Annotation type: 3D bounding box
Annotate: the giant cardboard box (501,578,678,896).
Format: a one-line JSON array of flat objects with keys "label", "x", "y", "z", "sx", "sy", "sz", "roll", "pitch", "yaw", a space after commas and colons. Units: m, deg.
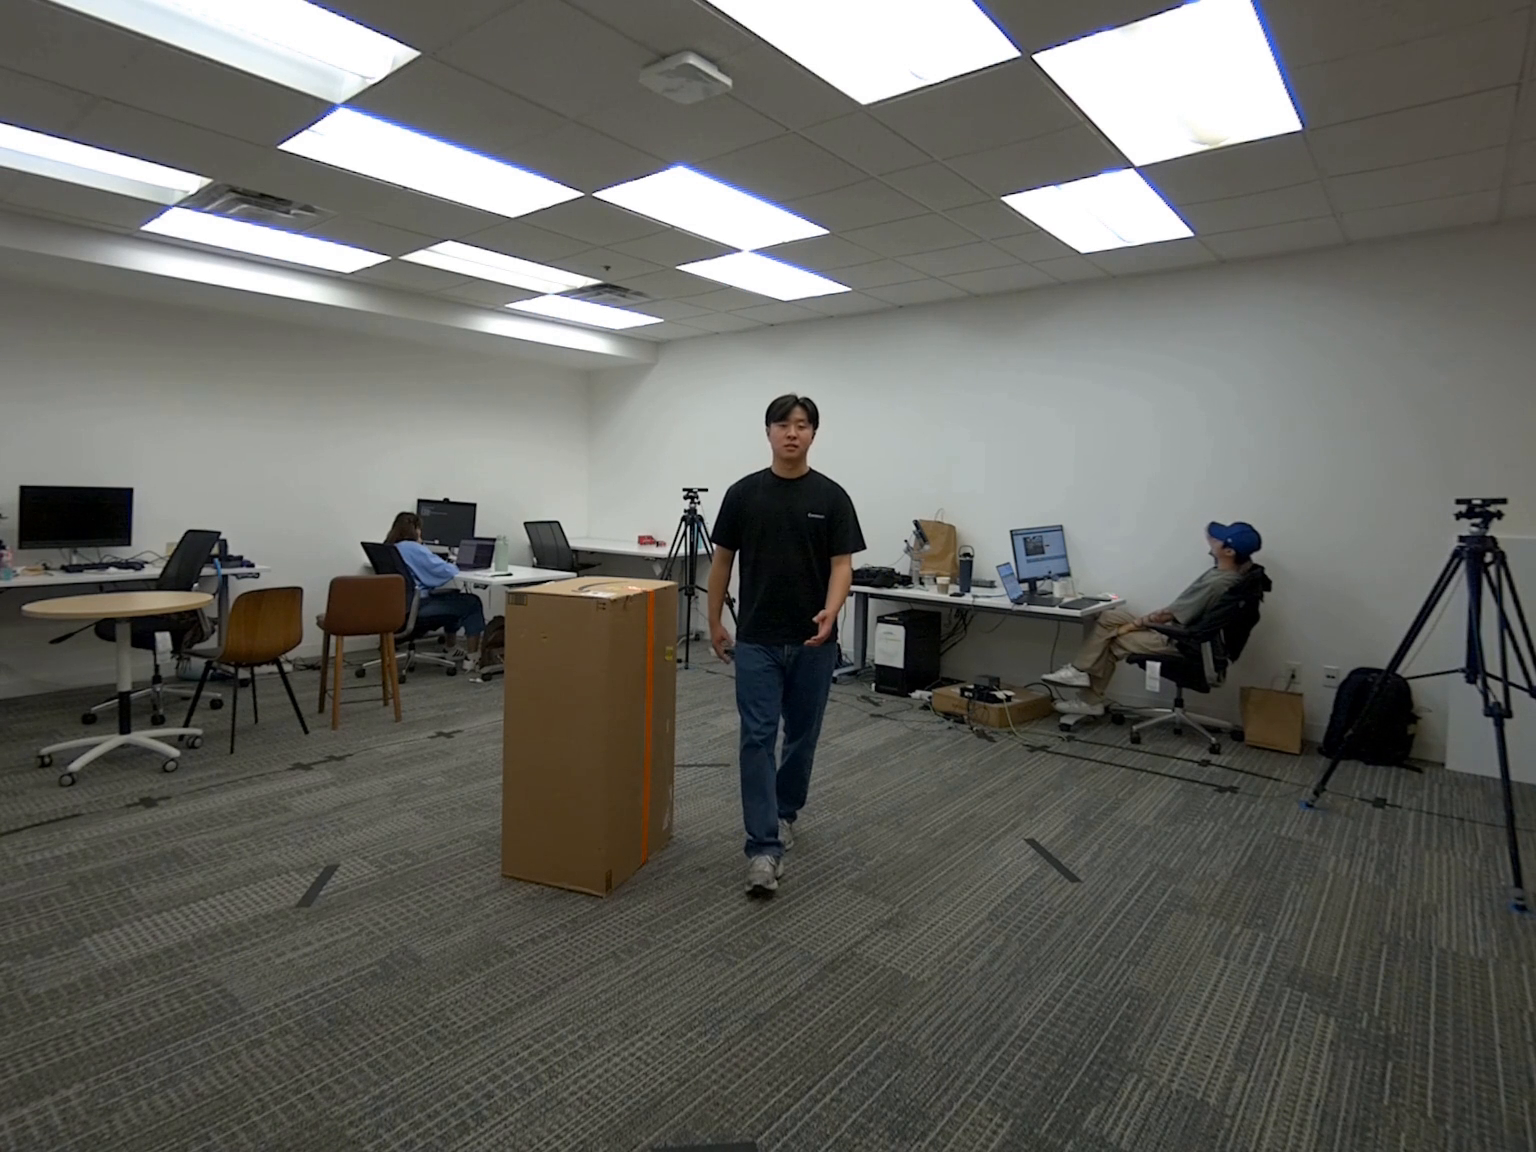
[{"label": "giant cardboard box", "x": -0.665, "y": 0.542, "z": 3.191, "sx": 0.457, "sy": 1.024, "sz": 0.573, "roll": 3, "pitch": 3, "yaw": 20}]
